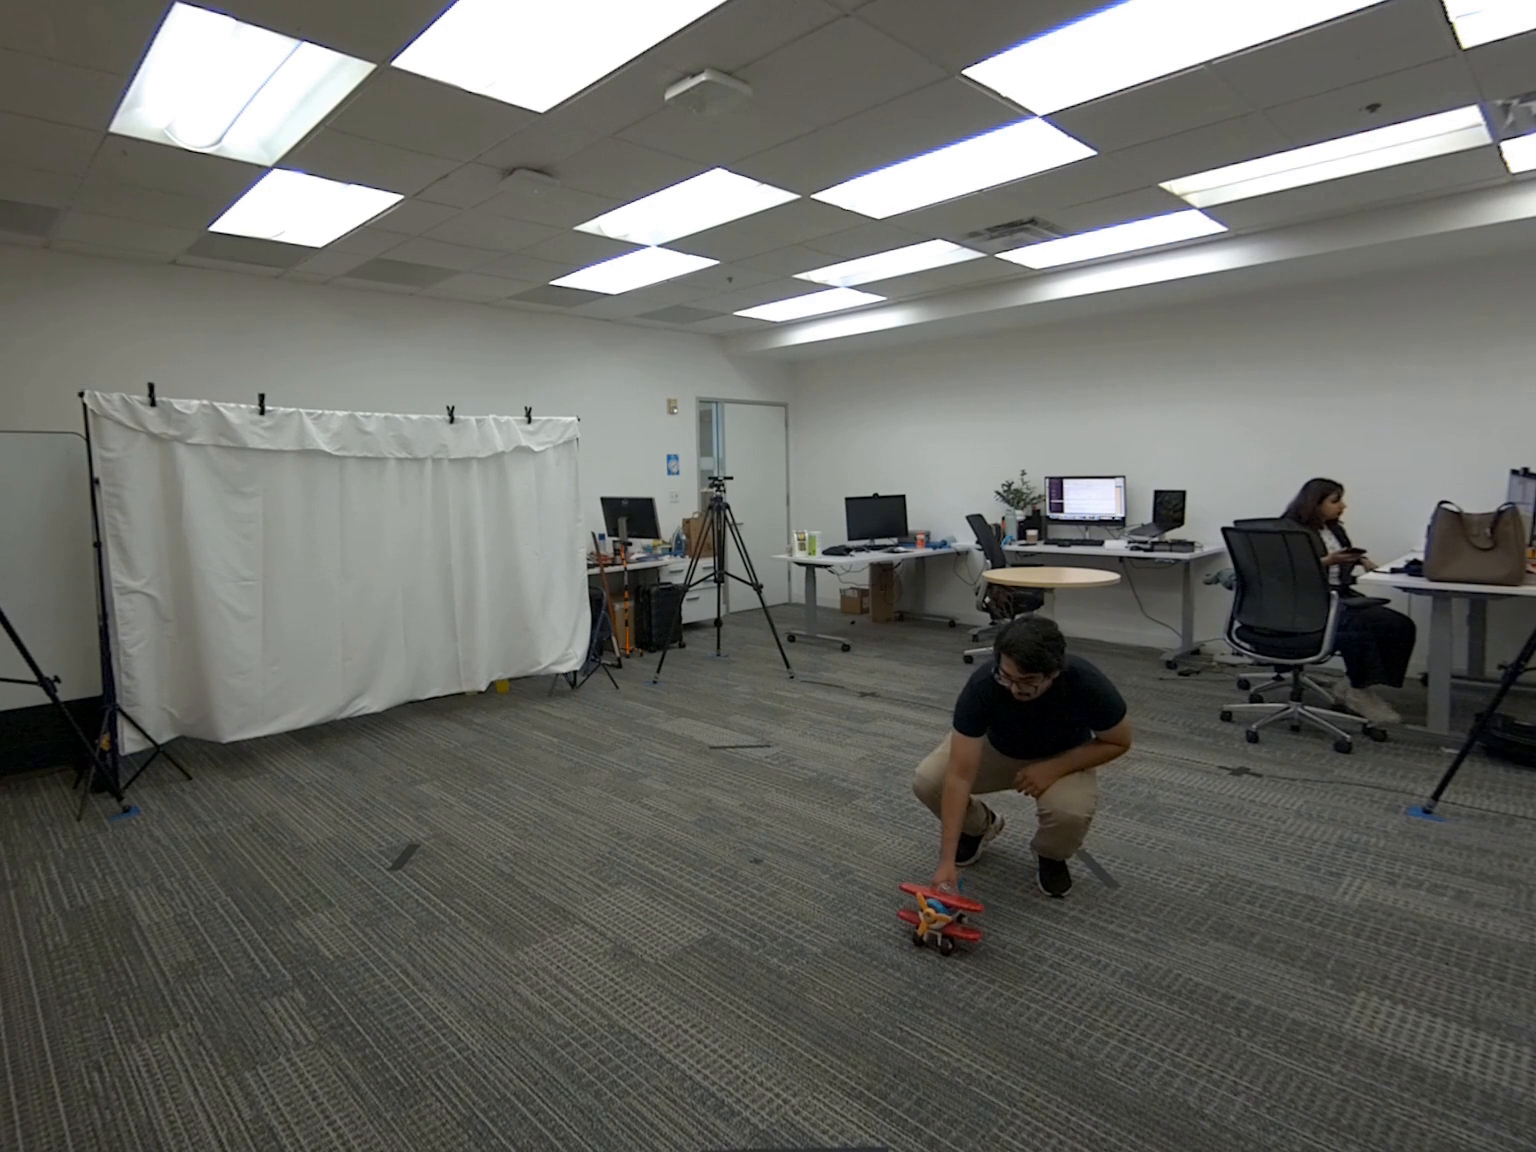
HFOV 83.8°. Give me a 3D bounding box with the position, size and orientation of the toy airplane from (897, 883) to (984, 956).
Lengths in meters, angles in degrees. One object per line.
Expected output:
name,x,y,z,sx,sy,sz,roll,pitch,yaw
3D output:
toy airplane,0.522,1.012,2.579,0.252,0.155,0.260,-1,9,4
